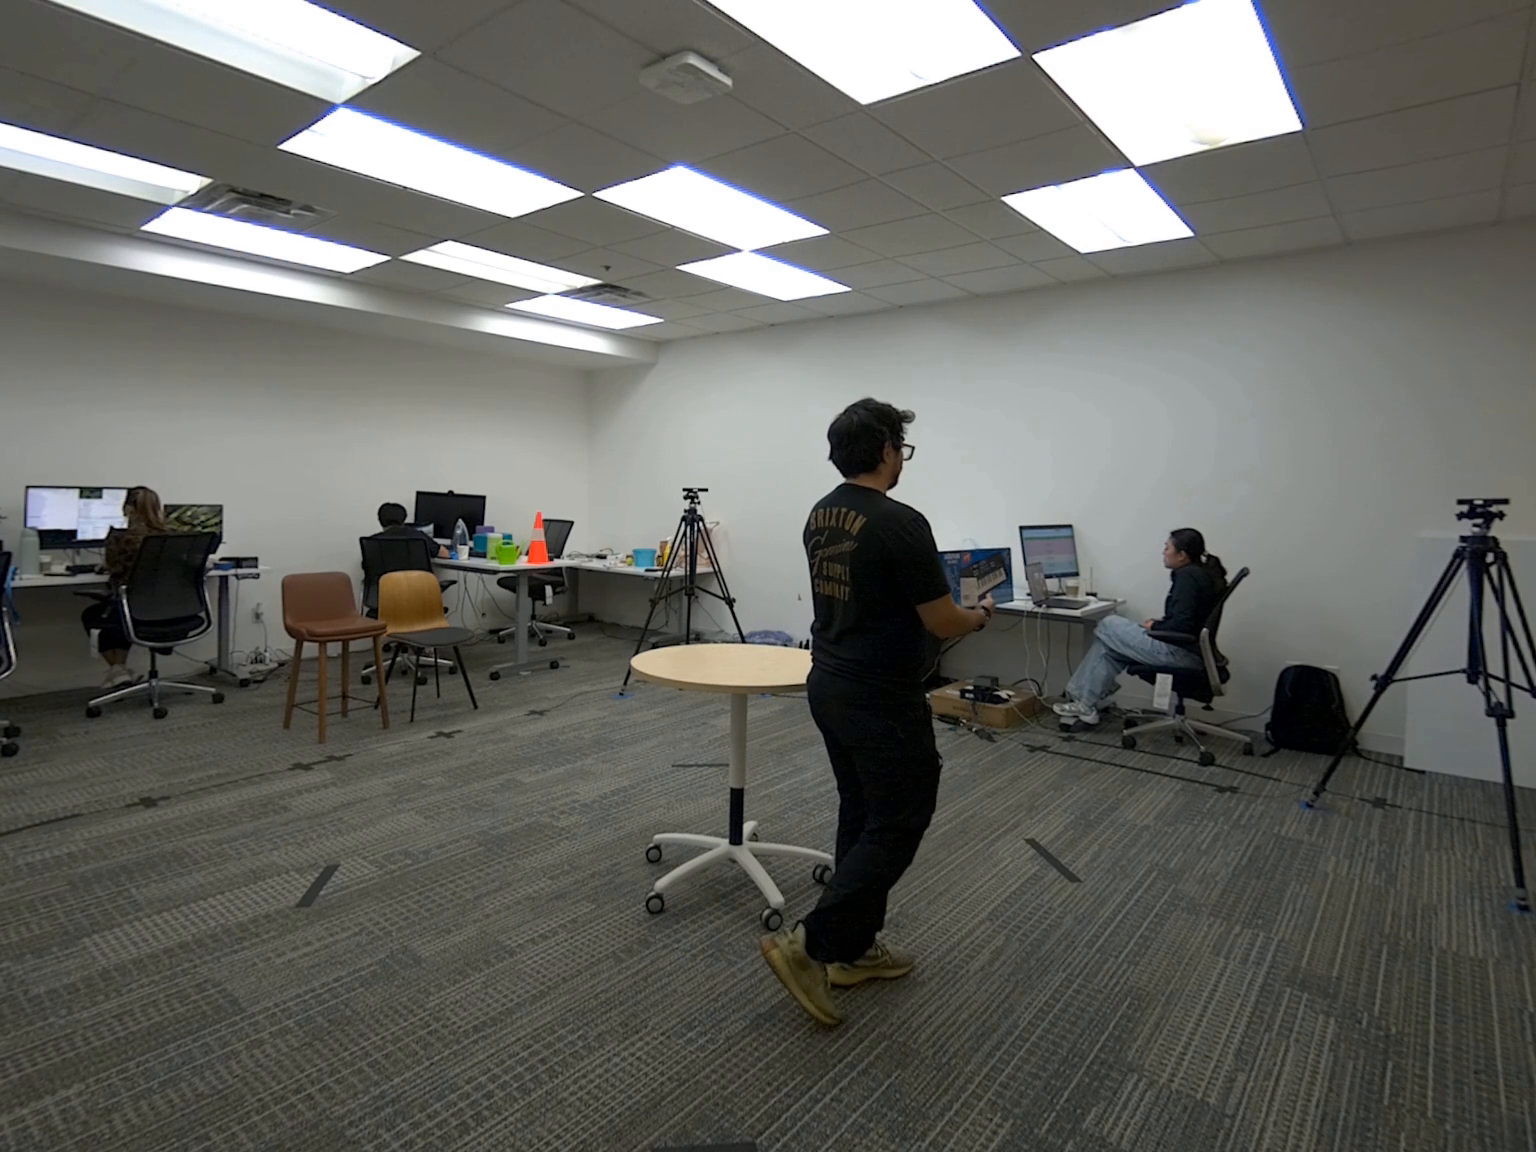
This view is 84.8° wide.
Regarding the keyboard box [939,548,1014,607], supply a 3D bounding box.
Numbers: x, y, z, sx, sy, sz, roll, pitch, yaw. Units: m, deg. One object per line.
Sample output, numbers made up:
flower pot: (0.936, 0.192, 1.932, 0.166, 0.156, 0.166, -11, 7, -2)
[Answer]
keyboard box: (0.595, 0.011, 2.500, 0.061, 0.176, 0.424, -4, 0, 42)
